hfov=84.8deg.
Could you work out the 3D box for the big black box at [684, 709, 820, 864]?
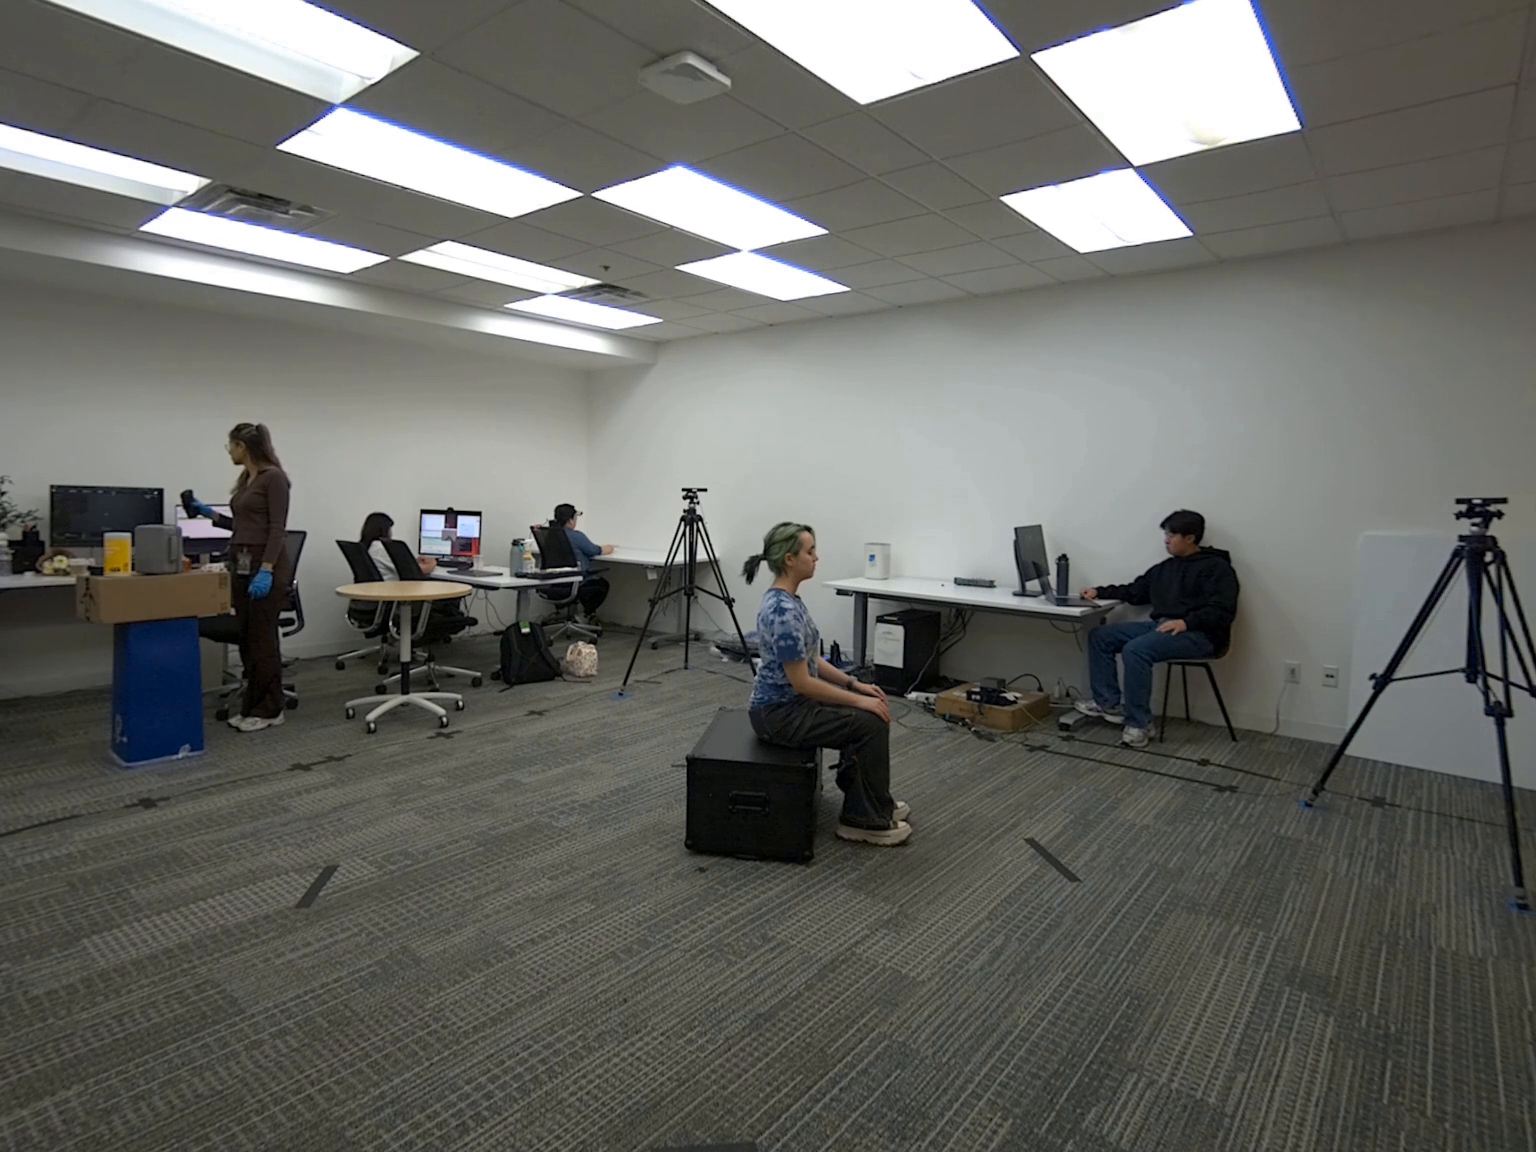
[{"bbox_3d":[-0.037,0.837,3.587,0.526,0.395,0.857,1,5,7],"label":"big black box"}]
